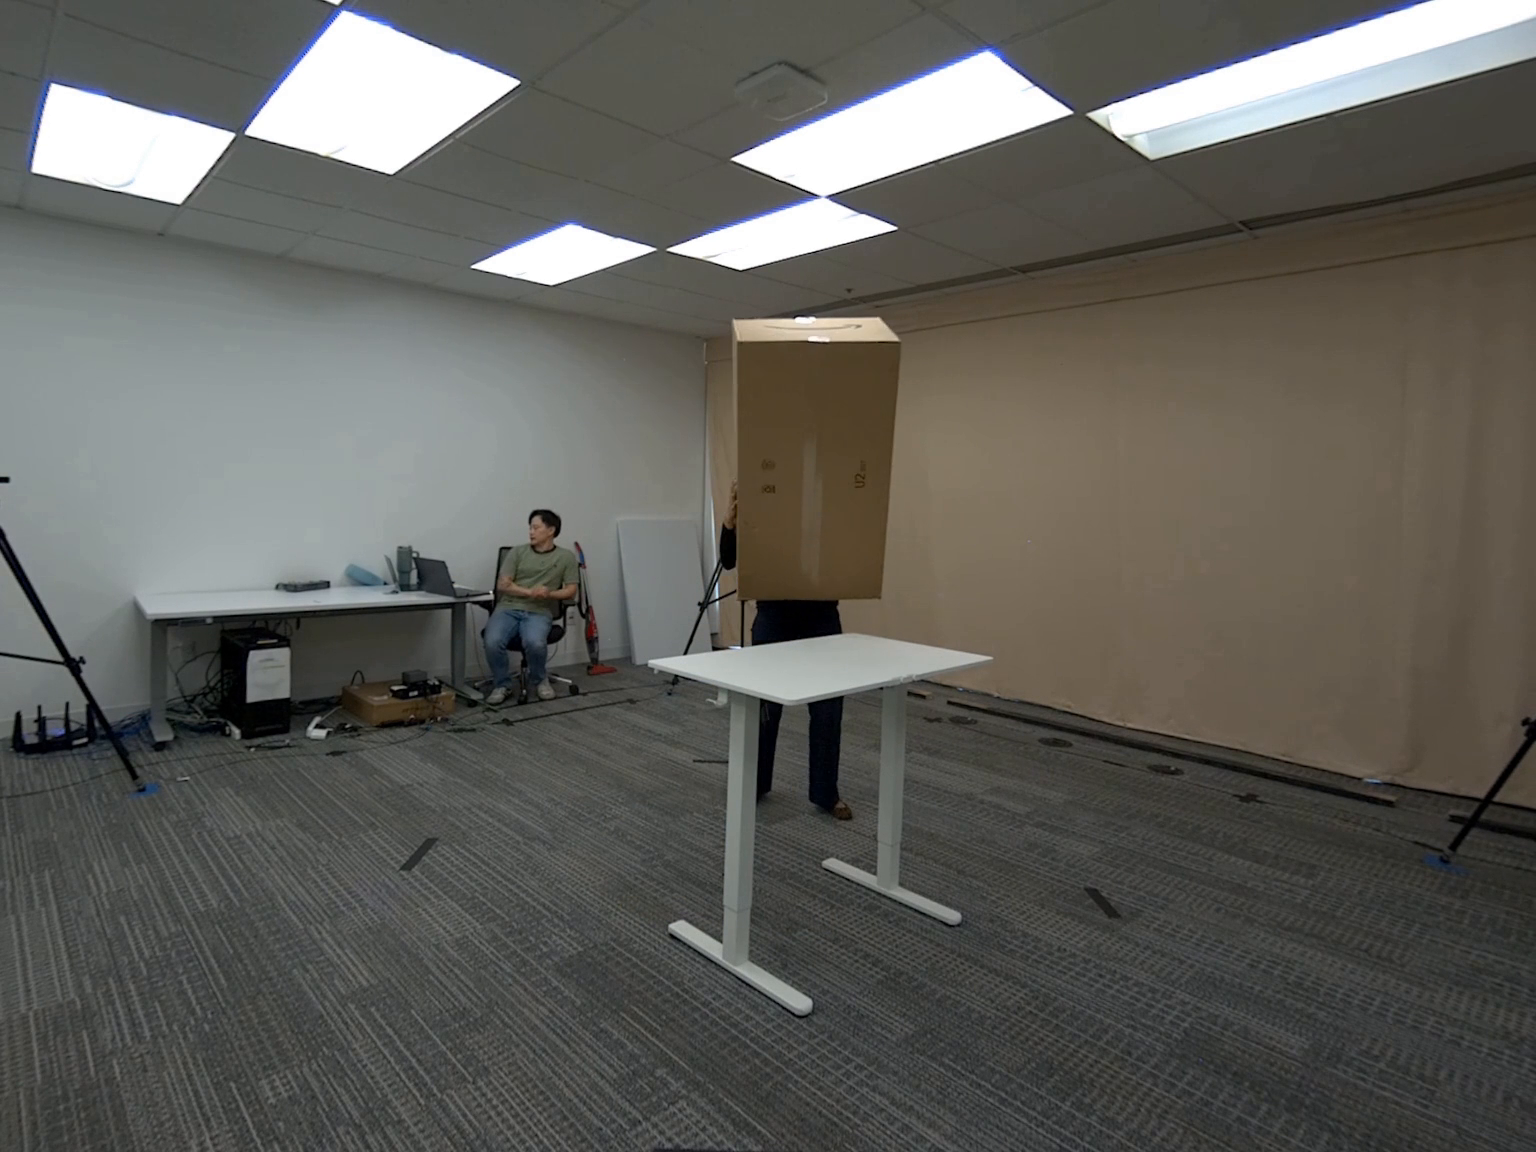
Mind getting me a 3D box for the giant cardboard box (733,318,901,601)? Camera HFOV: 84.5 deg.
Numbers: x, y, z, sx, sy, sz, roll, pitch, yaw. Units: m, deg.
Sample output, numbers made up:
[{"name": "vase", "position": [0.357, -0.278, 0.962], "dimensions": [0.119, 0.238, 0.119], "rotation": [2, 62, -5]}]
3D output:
[{"name": "giant cardboard box", "position": [0.149, -0.449, 3.287], "dimensions": [0.577, 1.008, 0.434], "rotation": [0, 26, -1]}]
